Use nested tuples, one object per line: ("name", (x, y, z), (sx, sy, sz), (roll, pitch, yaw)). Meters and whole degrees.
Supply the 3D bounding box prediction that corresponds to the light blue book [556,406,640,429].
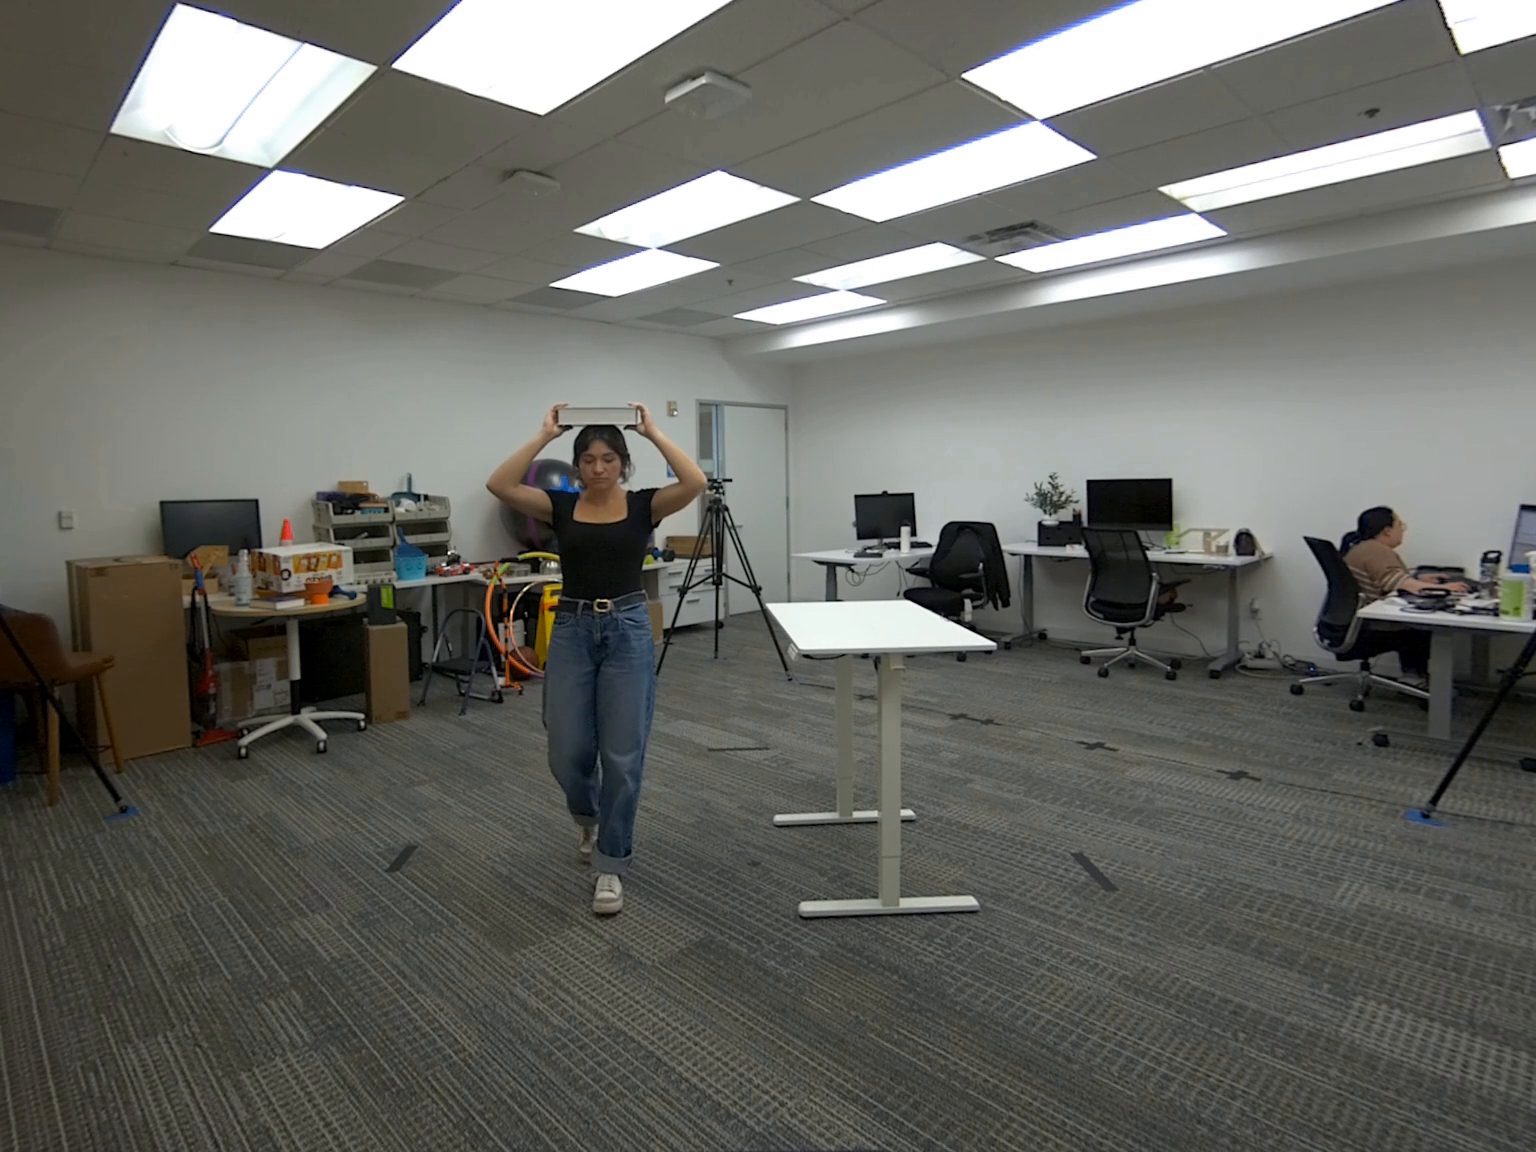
("light blue book", (-0.565, -0.543, 2.883), (0.261, 0.059, 0.192), (0, 8, -1))
